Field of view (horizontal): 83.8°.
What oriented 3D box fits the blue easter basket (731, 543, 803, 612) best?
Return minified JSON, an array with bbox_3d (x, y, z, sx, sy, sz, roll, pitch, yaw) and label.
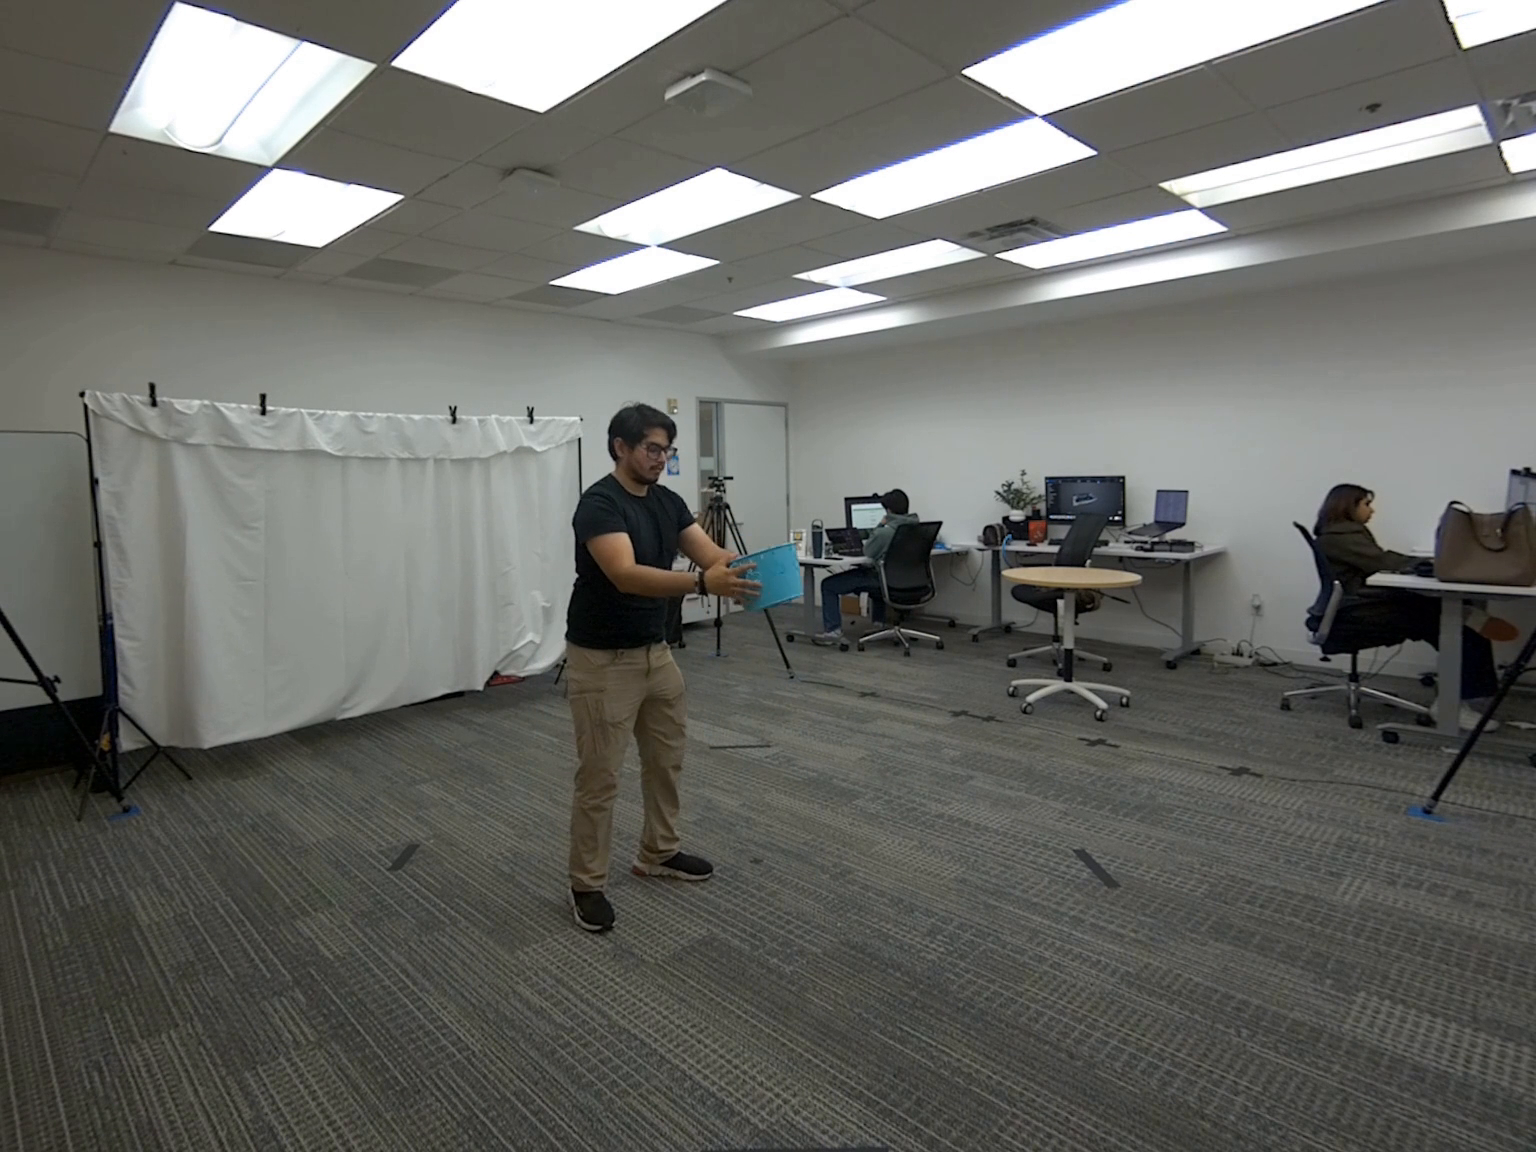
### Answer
[{"bbox_3d":[-0.016,0.014,2.516,0.243,0.157,0.242,-15,-5,-3],"label":"blue easter basket"}]
